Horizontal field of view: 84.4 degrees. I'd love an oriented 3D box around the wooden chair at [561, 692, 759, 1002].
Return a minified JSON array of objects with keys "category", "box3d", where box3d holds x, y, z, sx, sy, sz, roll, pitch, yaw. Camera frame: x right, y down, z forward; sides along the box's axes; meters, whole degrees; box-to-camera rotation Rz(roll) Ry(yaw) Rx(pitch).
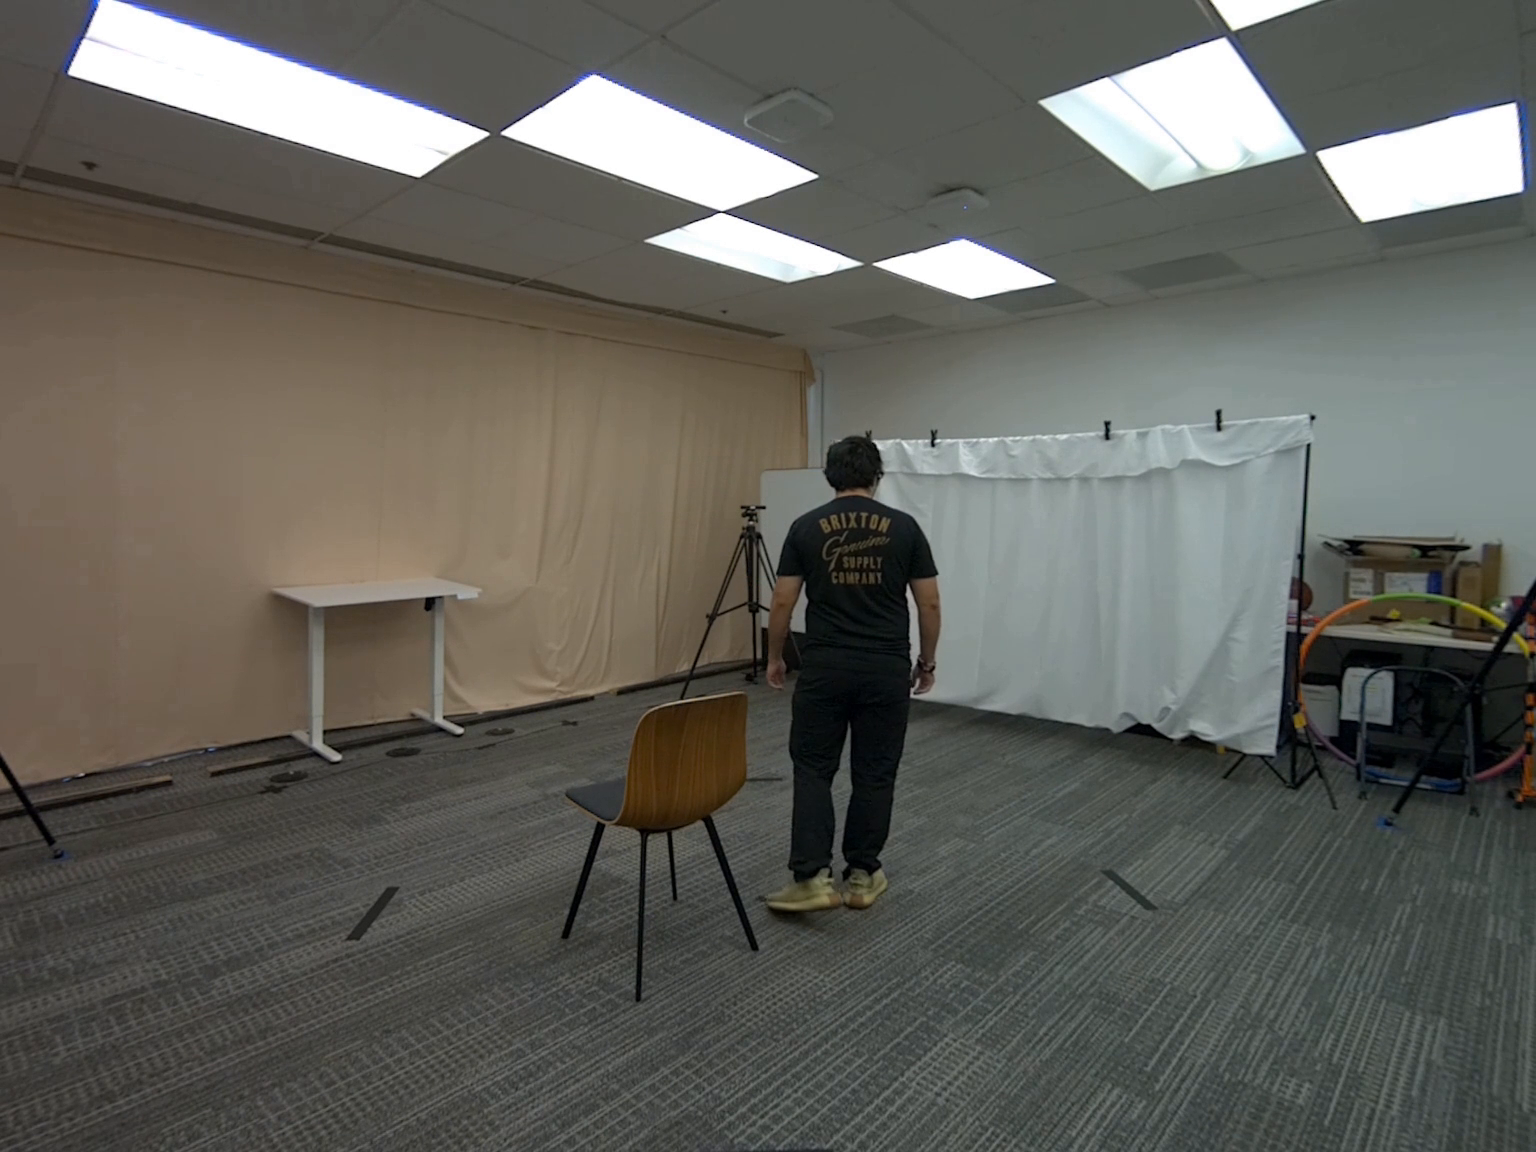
[{"category":"wooden chair","box3d":[-0.353,0.746,2.653,0.464,0.874,0.541,-3,8,-40]}]
